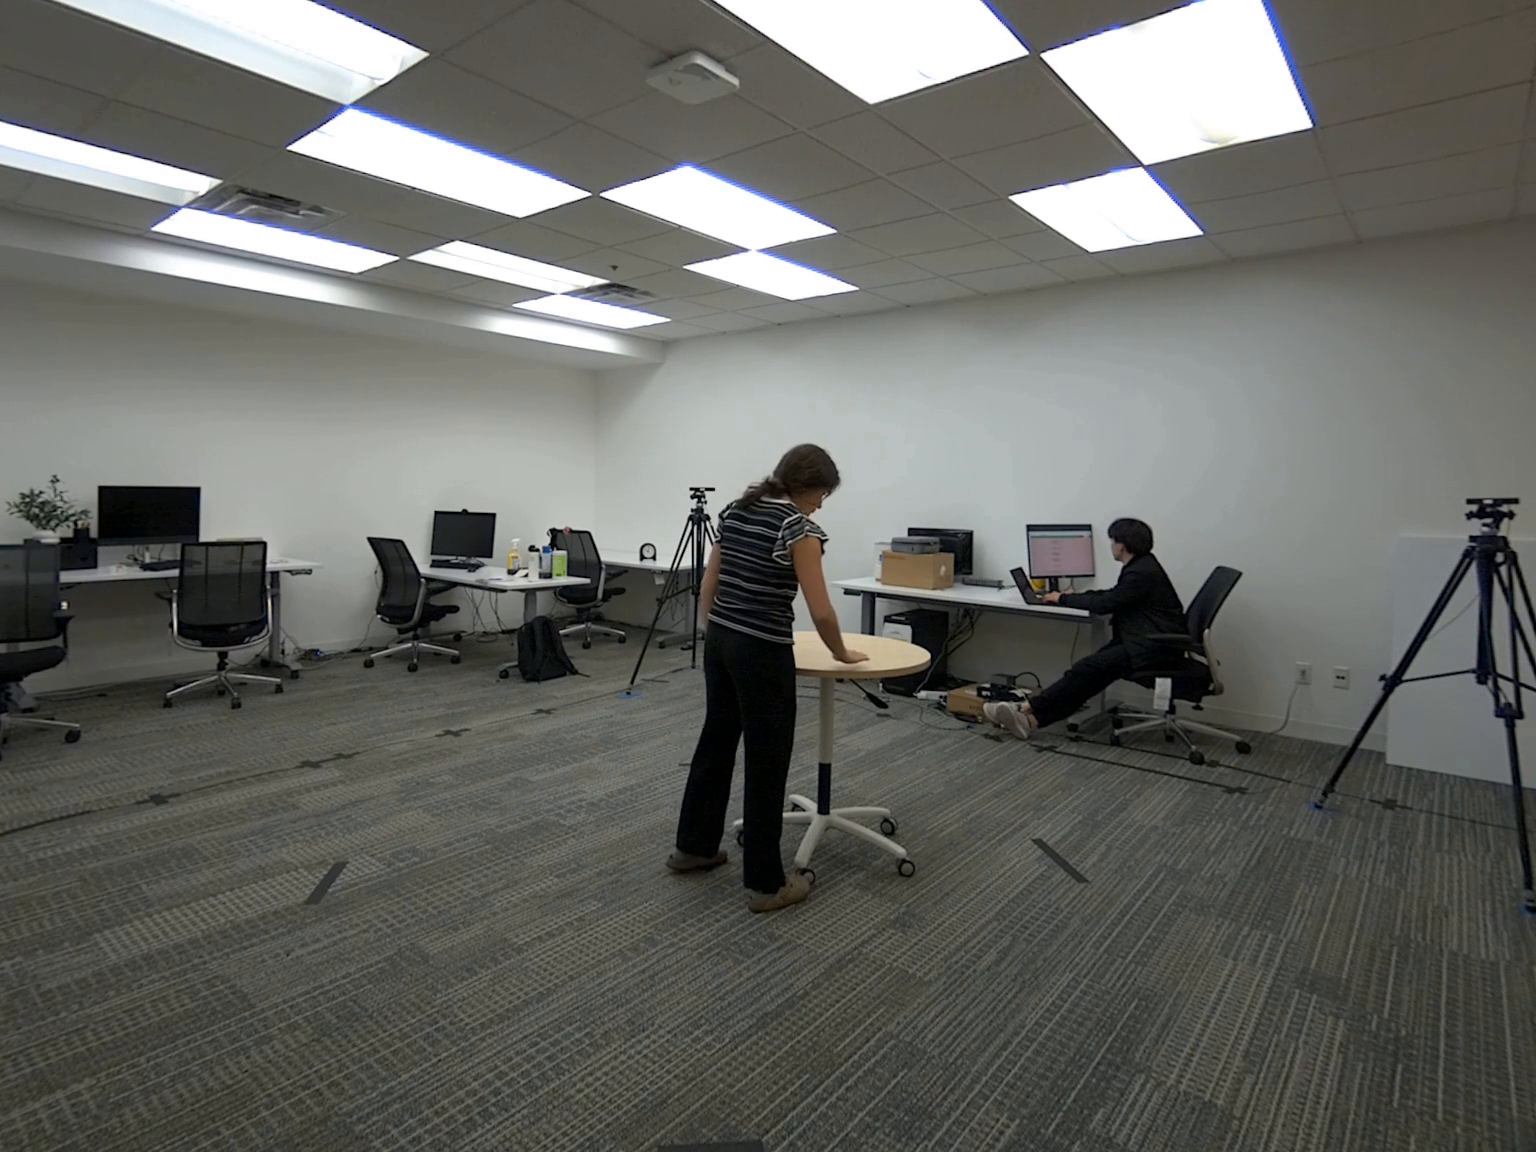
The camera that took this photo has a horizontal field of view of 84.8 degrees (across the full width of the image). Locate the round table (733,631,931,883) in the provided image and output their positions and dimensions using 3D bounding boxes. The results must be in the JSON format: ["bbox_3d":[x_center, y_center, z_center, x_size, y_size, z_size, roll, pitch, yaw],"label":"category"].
[{"bbox_3d":[0.217,0.670,3.296,0.763,0.791,0.768,1,5,-2],"label":"round table"}]
